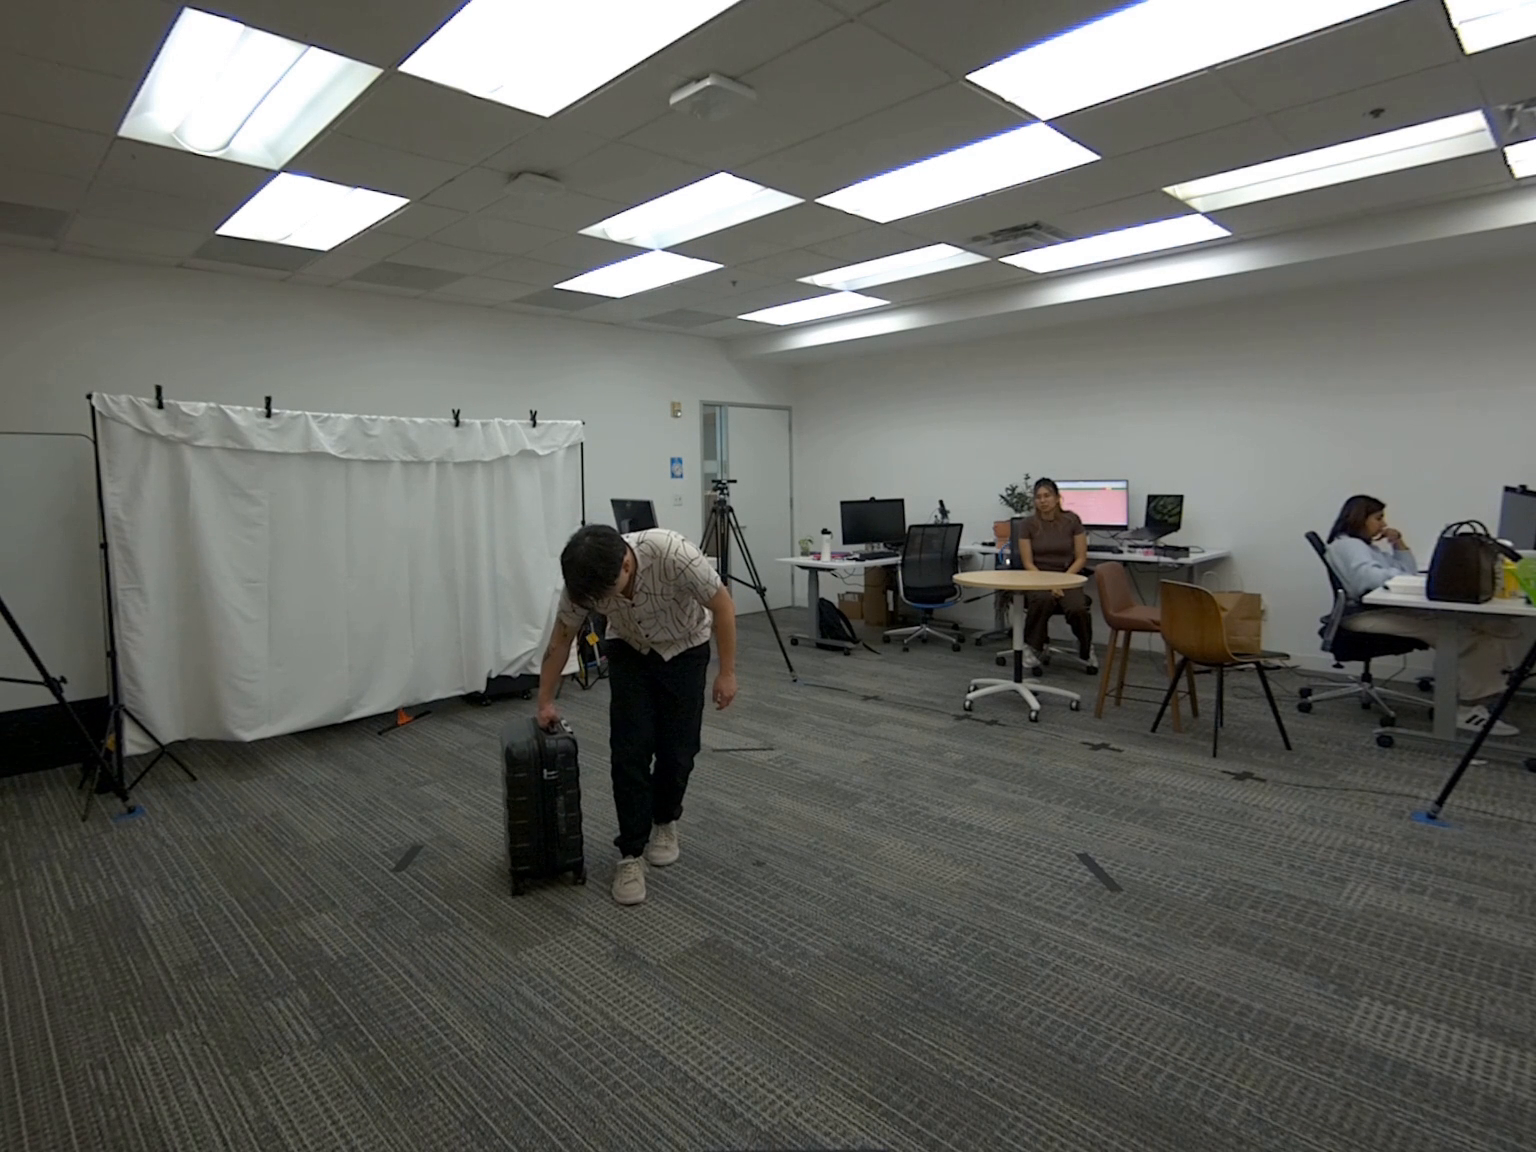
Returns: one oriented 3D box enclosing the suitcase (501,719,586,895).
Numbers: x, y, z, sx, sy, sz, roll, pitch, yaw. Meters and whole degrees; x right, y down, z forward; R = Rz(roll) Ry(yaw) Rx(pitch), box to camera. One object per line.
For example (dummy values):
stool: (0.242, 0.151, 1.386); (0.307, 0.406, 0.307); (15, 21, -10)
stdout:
suitcase: (-0.811, 0.793, 3.046); (0.244, 0.546, 0.384); (-3, 6, -20)
